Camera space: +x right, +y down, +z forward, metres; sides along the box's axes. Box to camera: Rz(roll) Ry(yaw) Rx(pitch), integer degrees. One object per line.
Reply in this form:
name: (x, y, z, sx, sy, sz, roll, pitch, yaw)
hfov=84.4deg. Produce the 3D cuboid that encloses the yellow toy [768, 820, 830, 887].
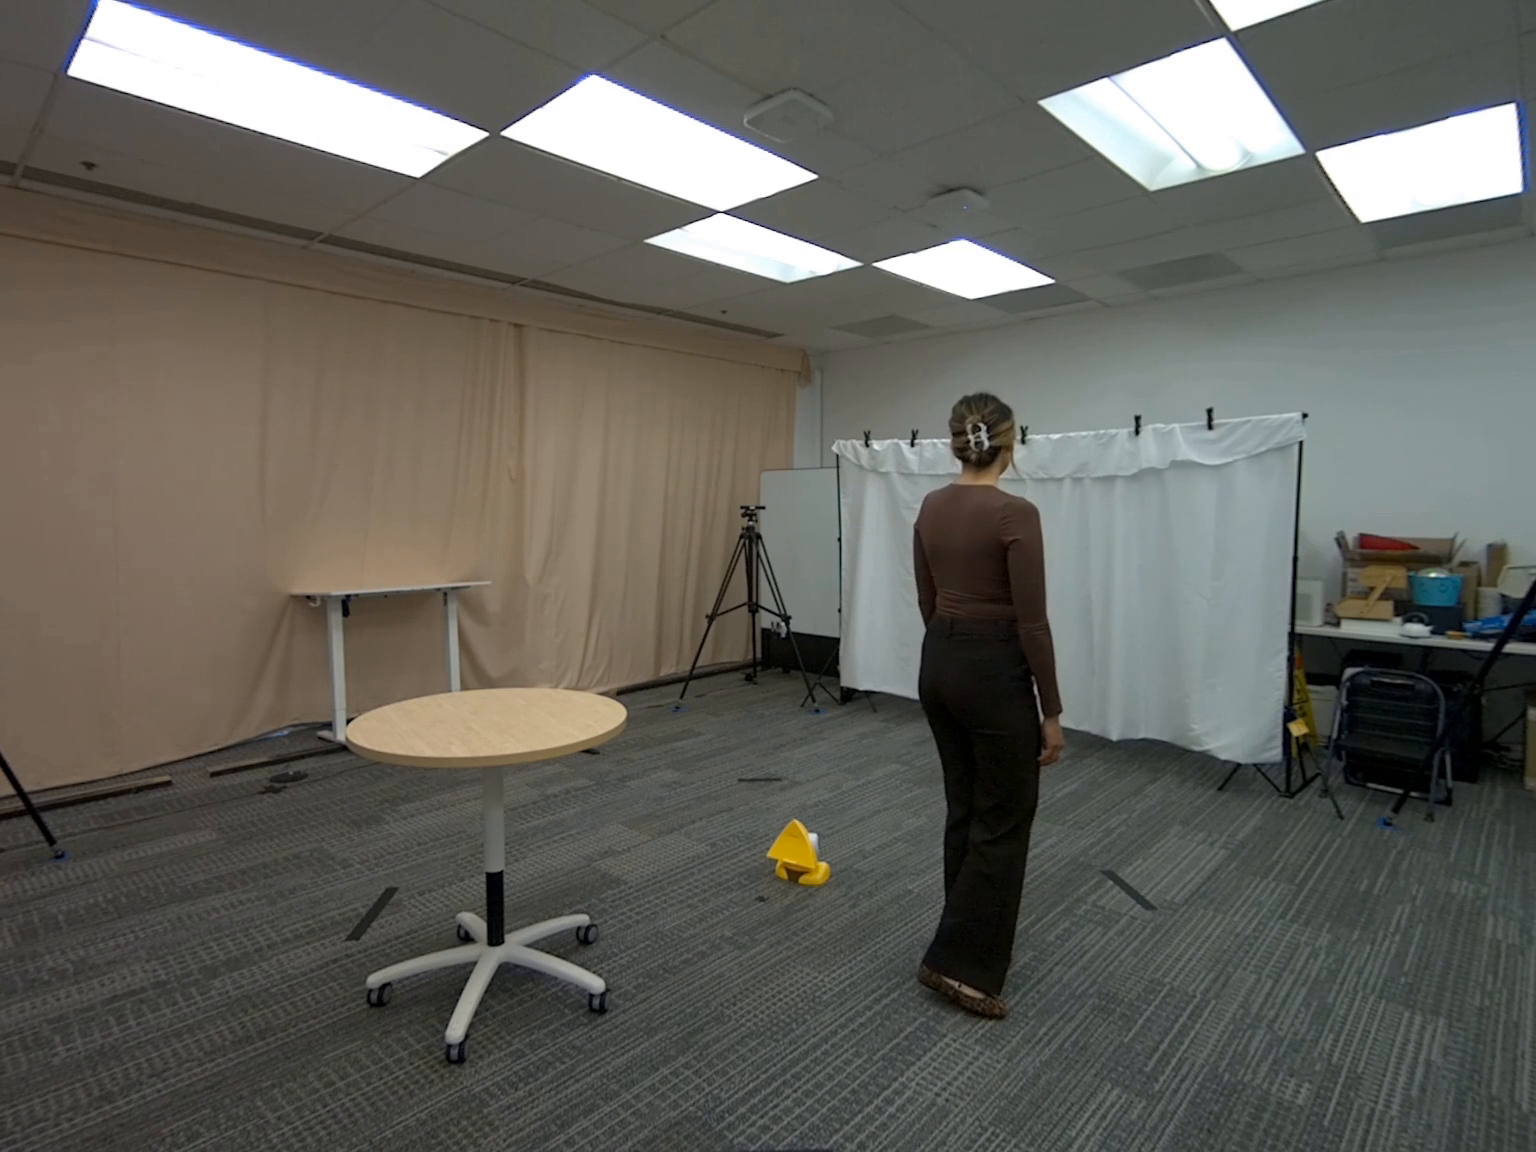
yellow toy: (0.130, 1.019, 3.171, 0.211, 0.230, 0.187, 2, 4, 33)
